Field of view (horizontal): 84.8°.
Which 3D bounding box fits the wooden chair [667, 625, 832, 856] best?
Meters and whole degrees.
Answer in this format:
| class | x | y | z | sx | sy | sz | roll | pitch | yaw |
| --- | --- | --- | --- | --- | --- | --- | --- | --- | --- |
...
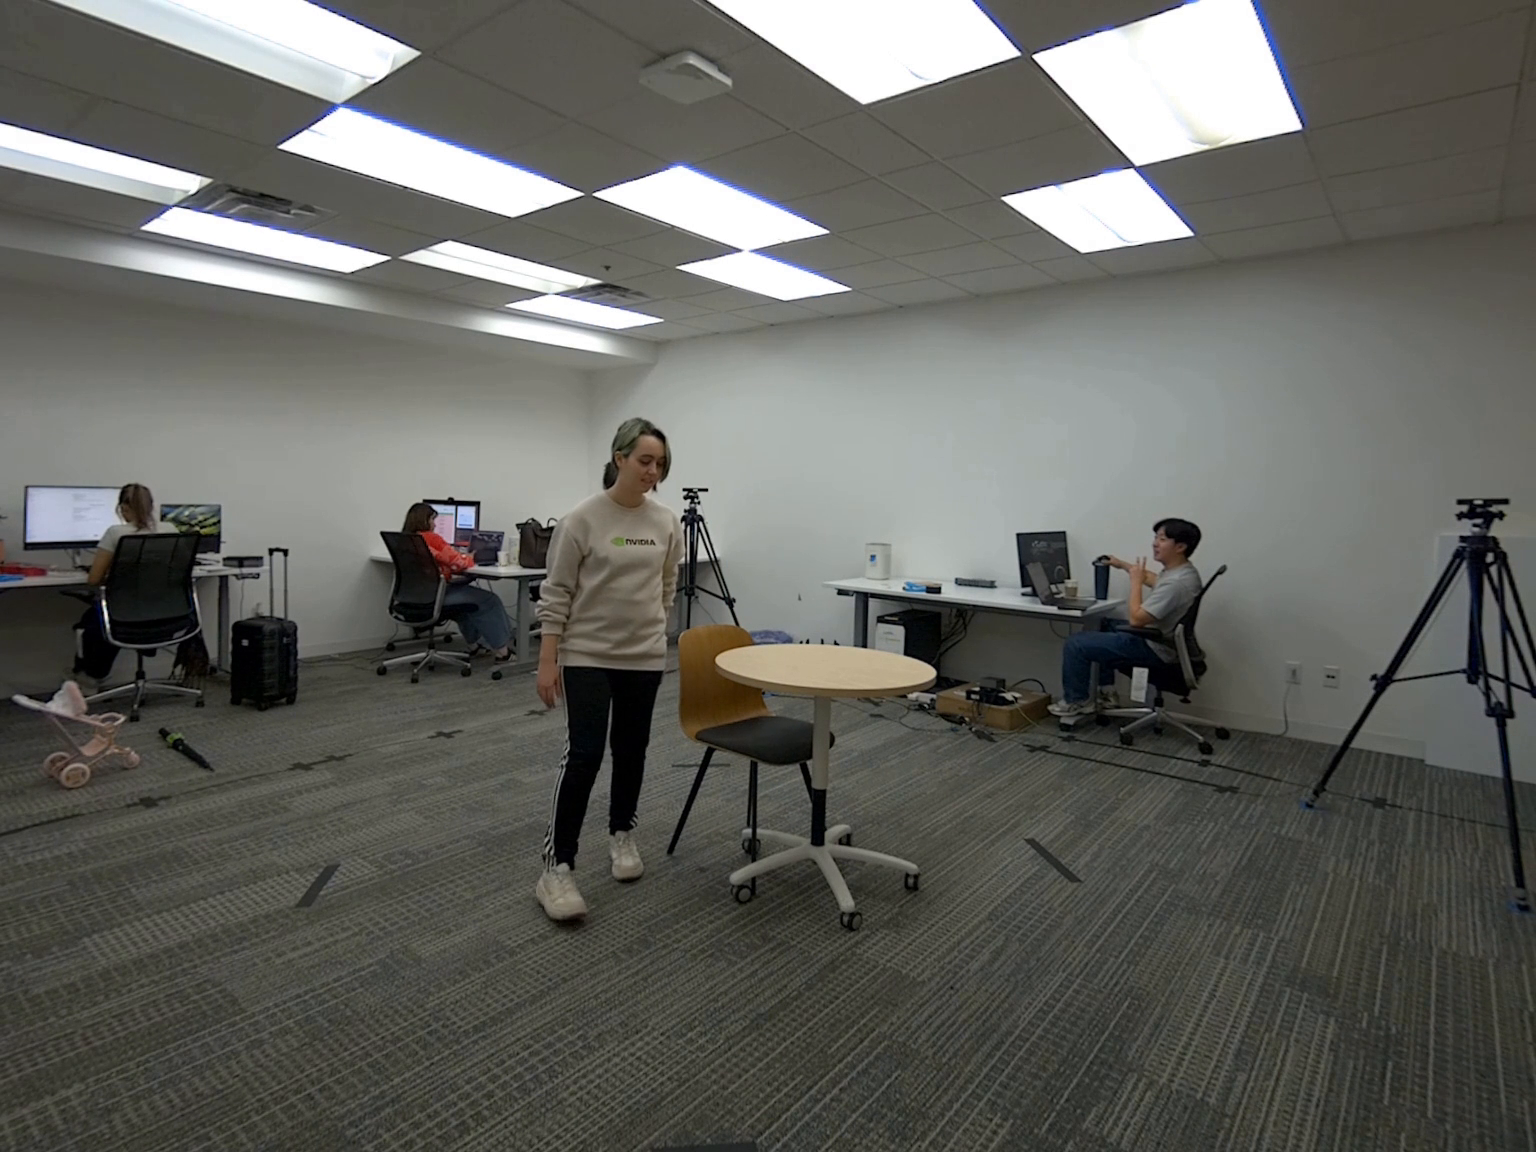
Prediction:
| class | x | y | z | sx | sy | sz | roll | pitch | yaw |
| --- | --- | --- | --- | --- | --- | --- | --- | --- | --- |
| wooden chair | -0.057 | 0.637 | 3.195 | 0.539 | 0.878 | 0.463 | -1 | 0 | 44 |
